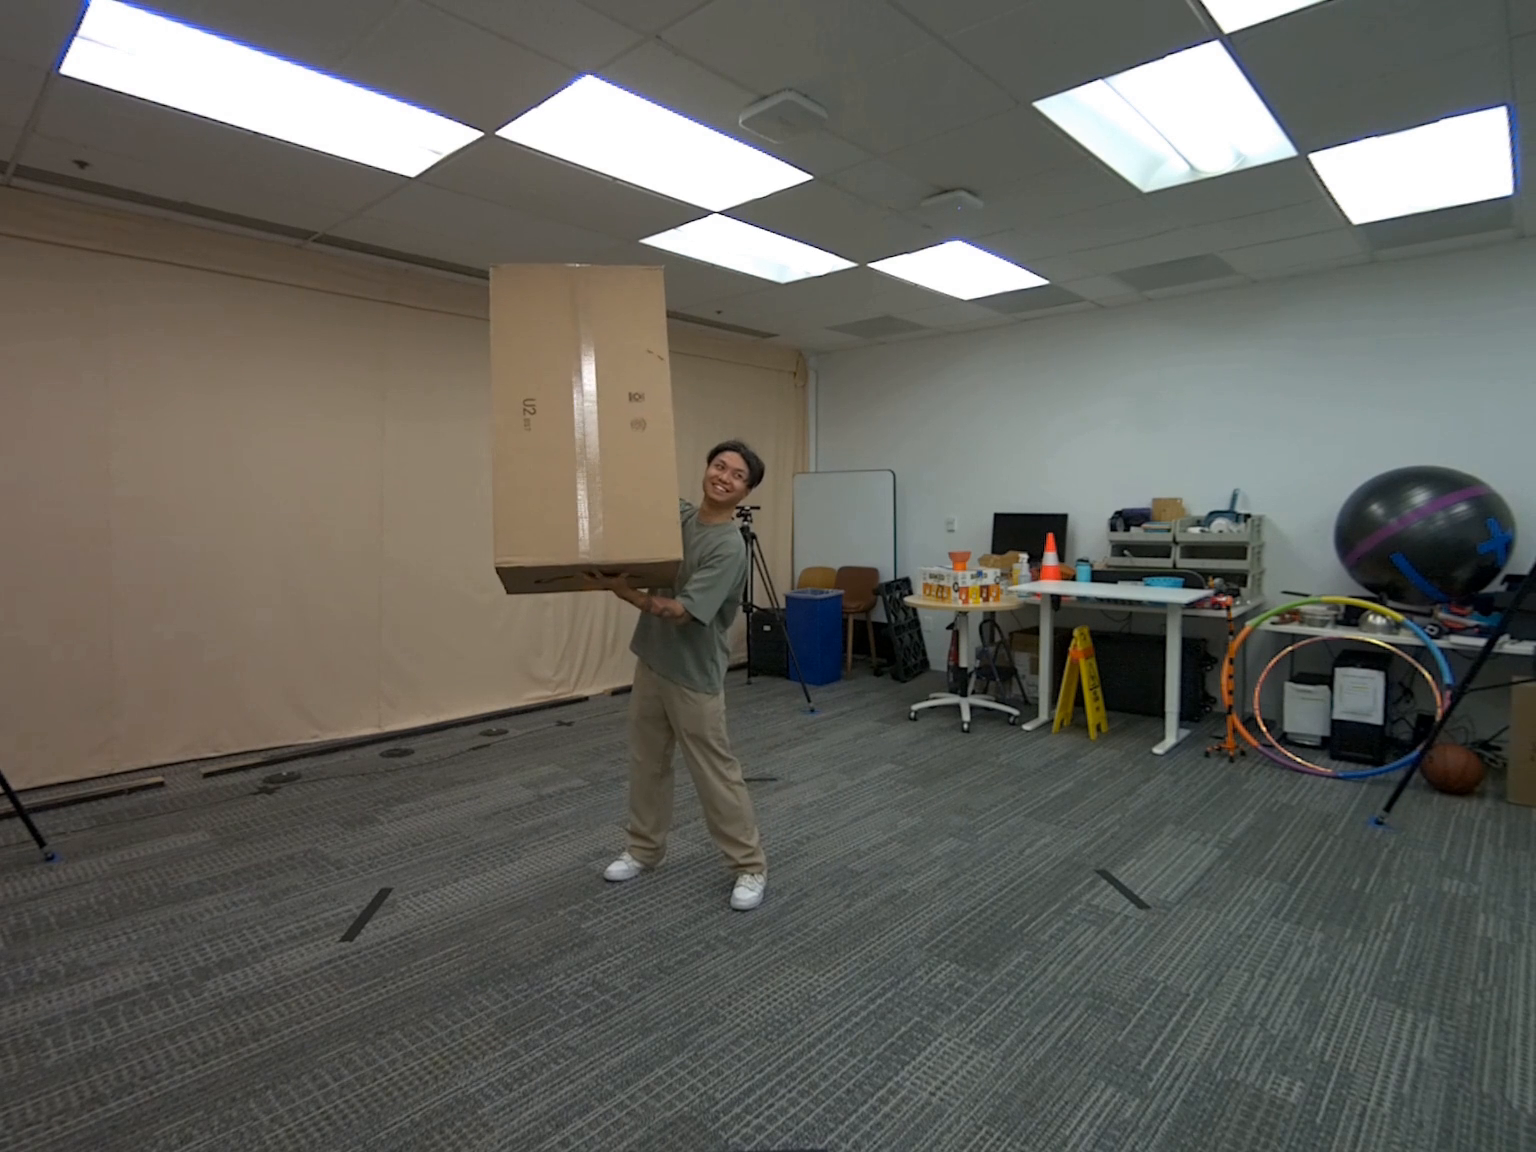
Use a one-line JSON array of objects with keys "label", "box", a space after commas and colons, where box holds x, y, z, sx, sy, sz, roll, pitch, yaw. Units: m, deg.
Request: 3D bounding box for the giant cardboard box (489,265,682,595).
[{"label": "giant cardboard box", "box": [-0.625, -0.479, 2.873, 0.572, 1.036, 0.426, -3, -14, -10]}]
